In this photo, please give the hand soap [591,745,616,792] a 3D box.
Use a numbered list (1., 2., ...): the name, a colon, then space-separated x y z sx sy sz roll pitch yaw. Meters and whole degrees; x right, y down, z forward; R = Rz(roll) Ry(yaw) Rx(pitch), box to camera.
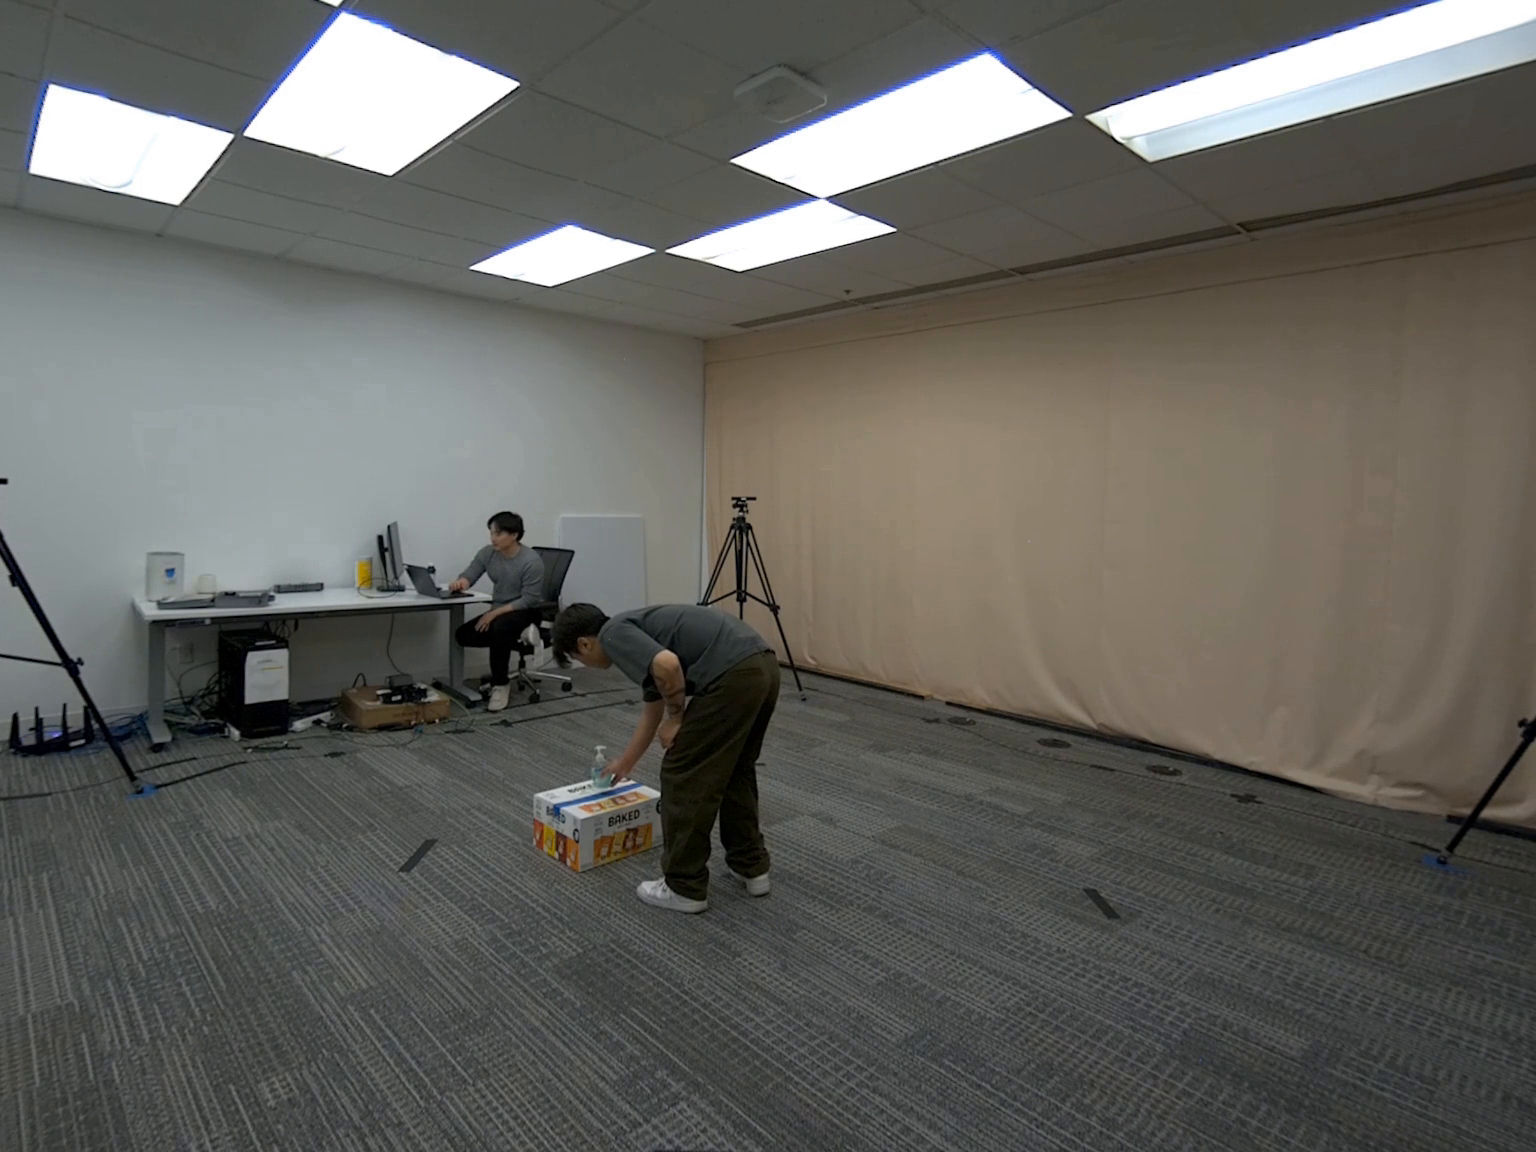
1. hand soap: -0.670 0.767 3.367 0.085 0.168 0.043 -5 0 8
